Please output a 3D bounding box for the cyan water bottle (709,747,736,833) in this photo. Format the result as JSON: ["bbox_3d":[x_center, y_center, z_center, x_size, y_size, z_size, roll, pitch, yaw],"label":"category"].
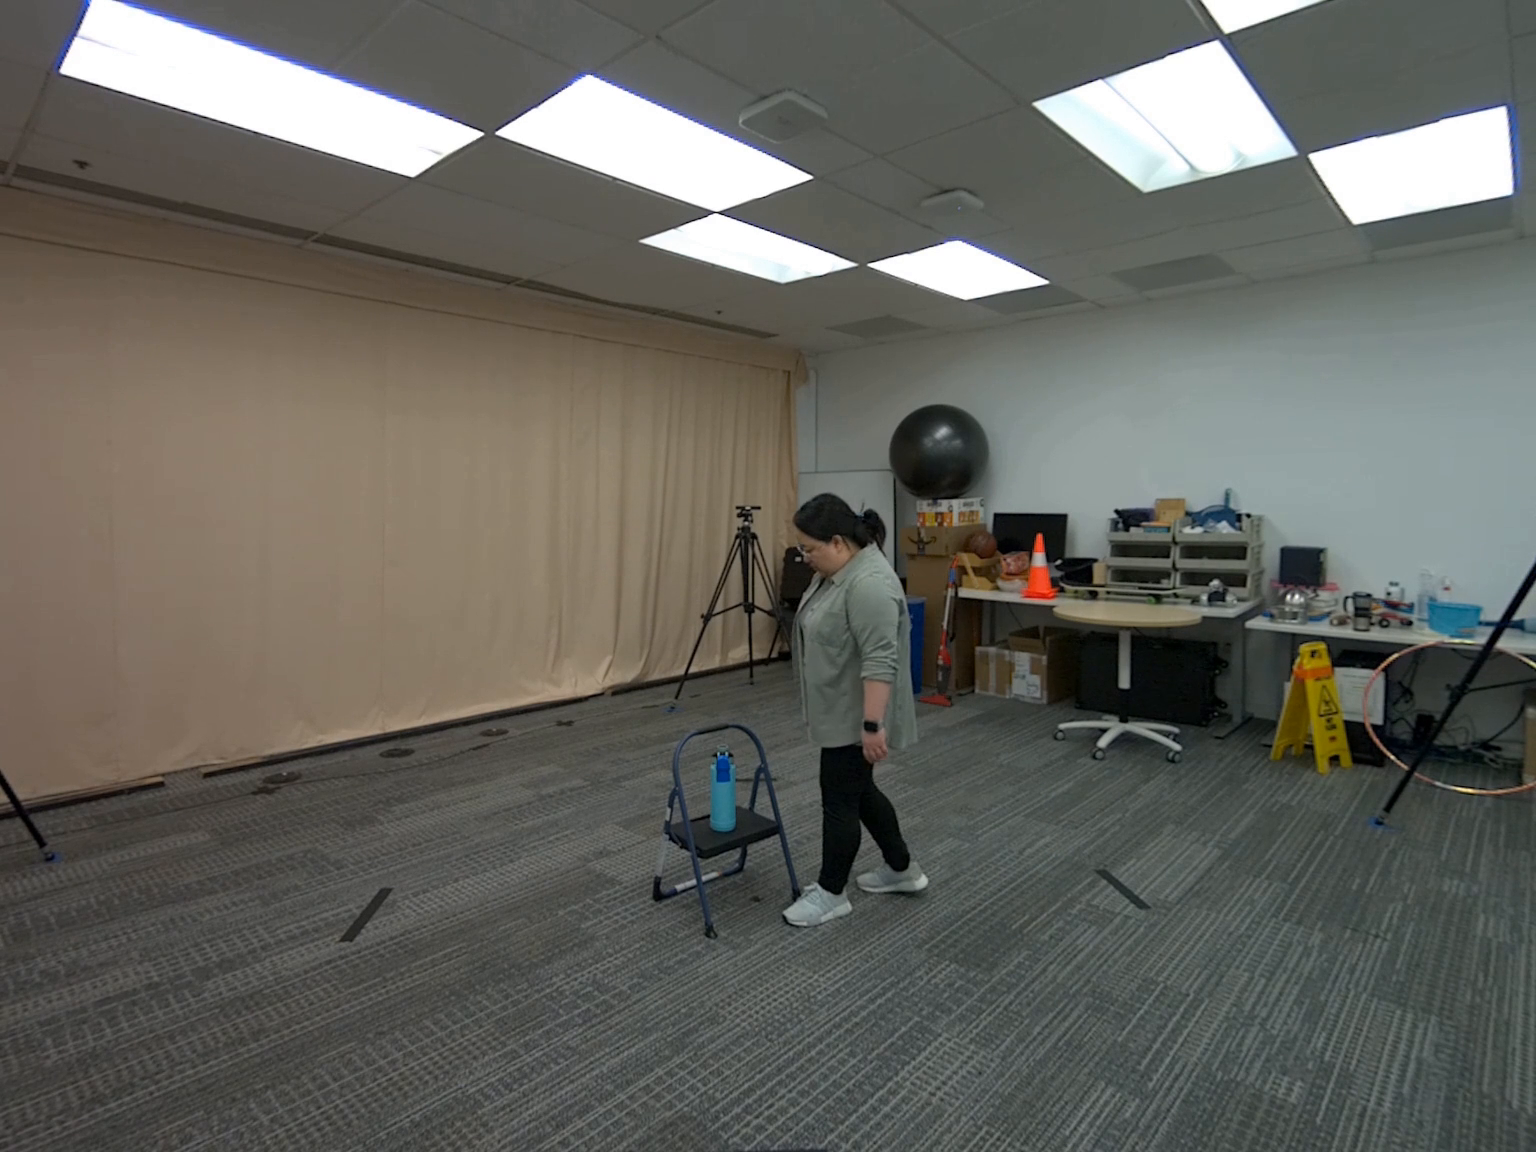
[{"bbox_3d":[-0.152,0.749,2.959,0.092,0.282,0.093,1,5,-2],"label":"cyan water bottle"}]
